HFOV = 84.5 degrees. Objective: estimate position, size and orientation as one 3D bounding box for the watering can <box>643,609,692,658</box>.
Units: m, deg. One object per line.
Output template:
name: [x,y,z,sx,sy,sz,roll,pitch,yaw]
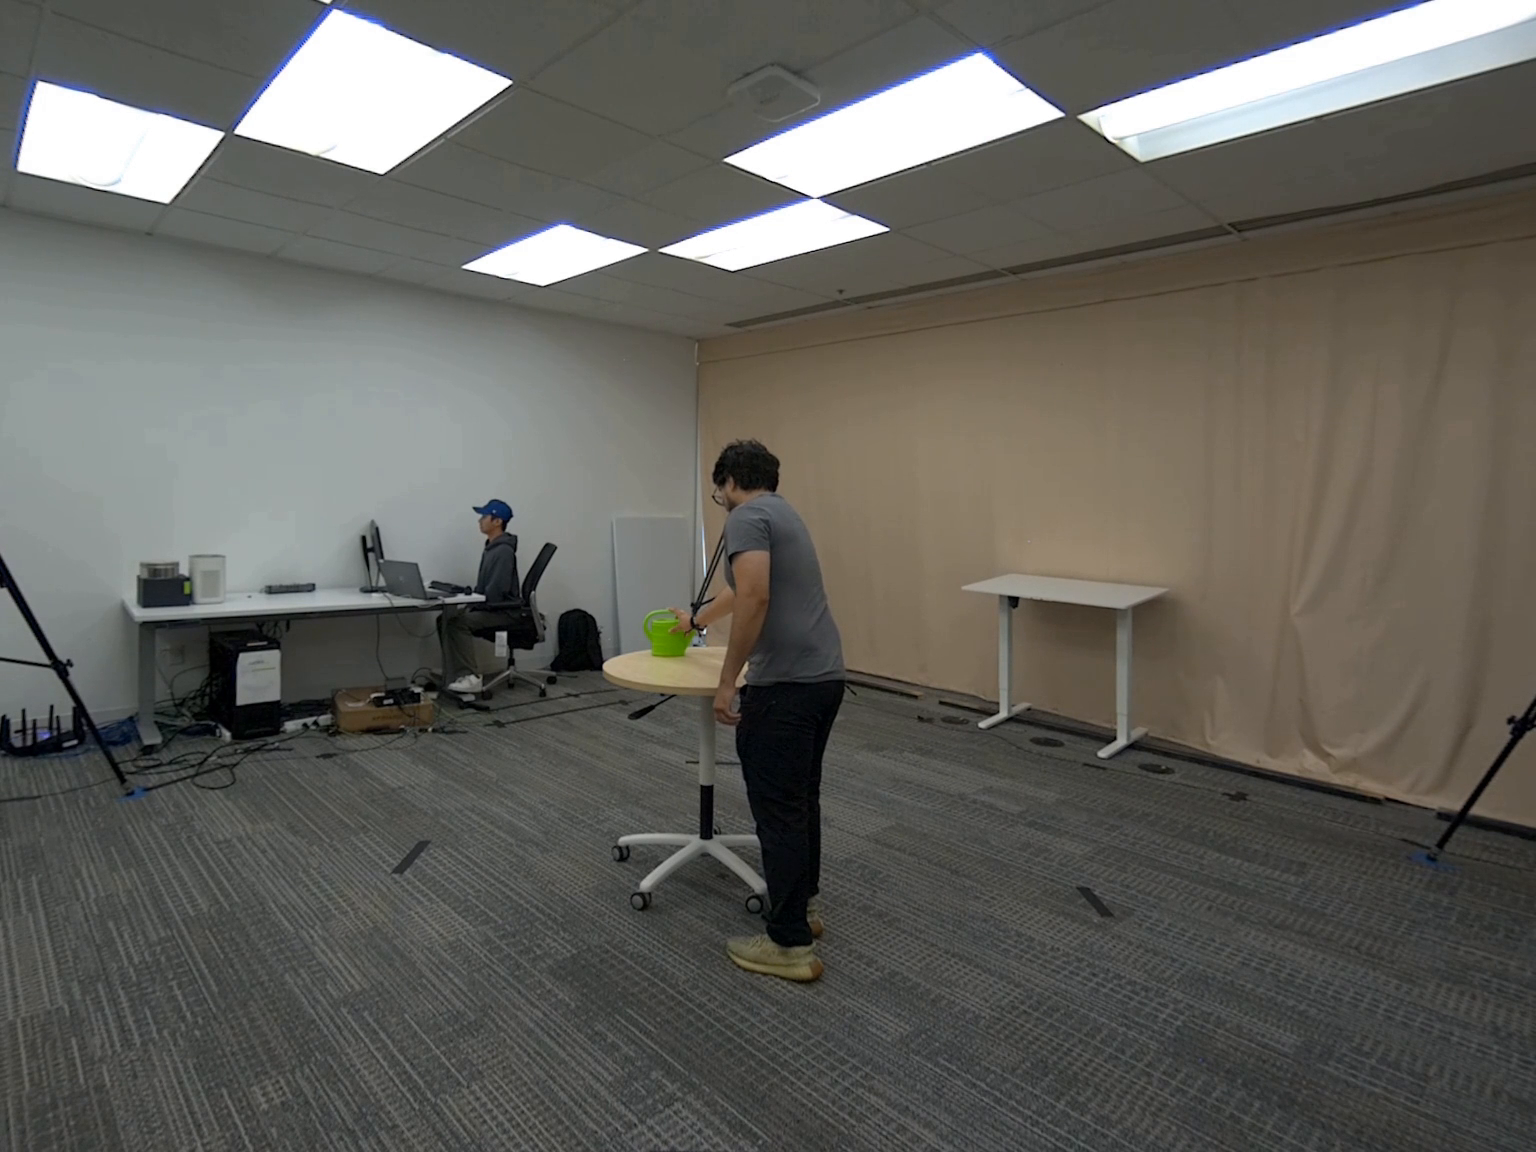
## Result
watering can: [-0.354,0.223,3.253,0.280,0.176,0.097,-1,2,7]
